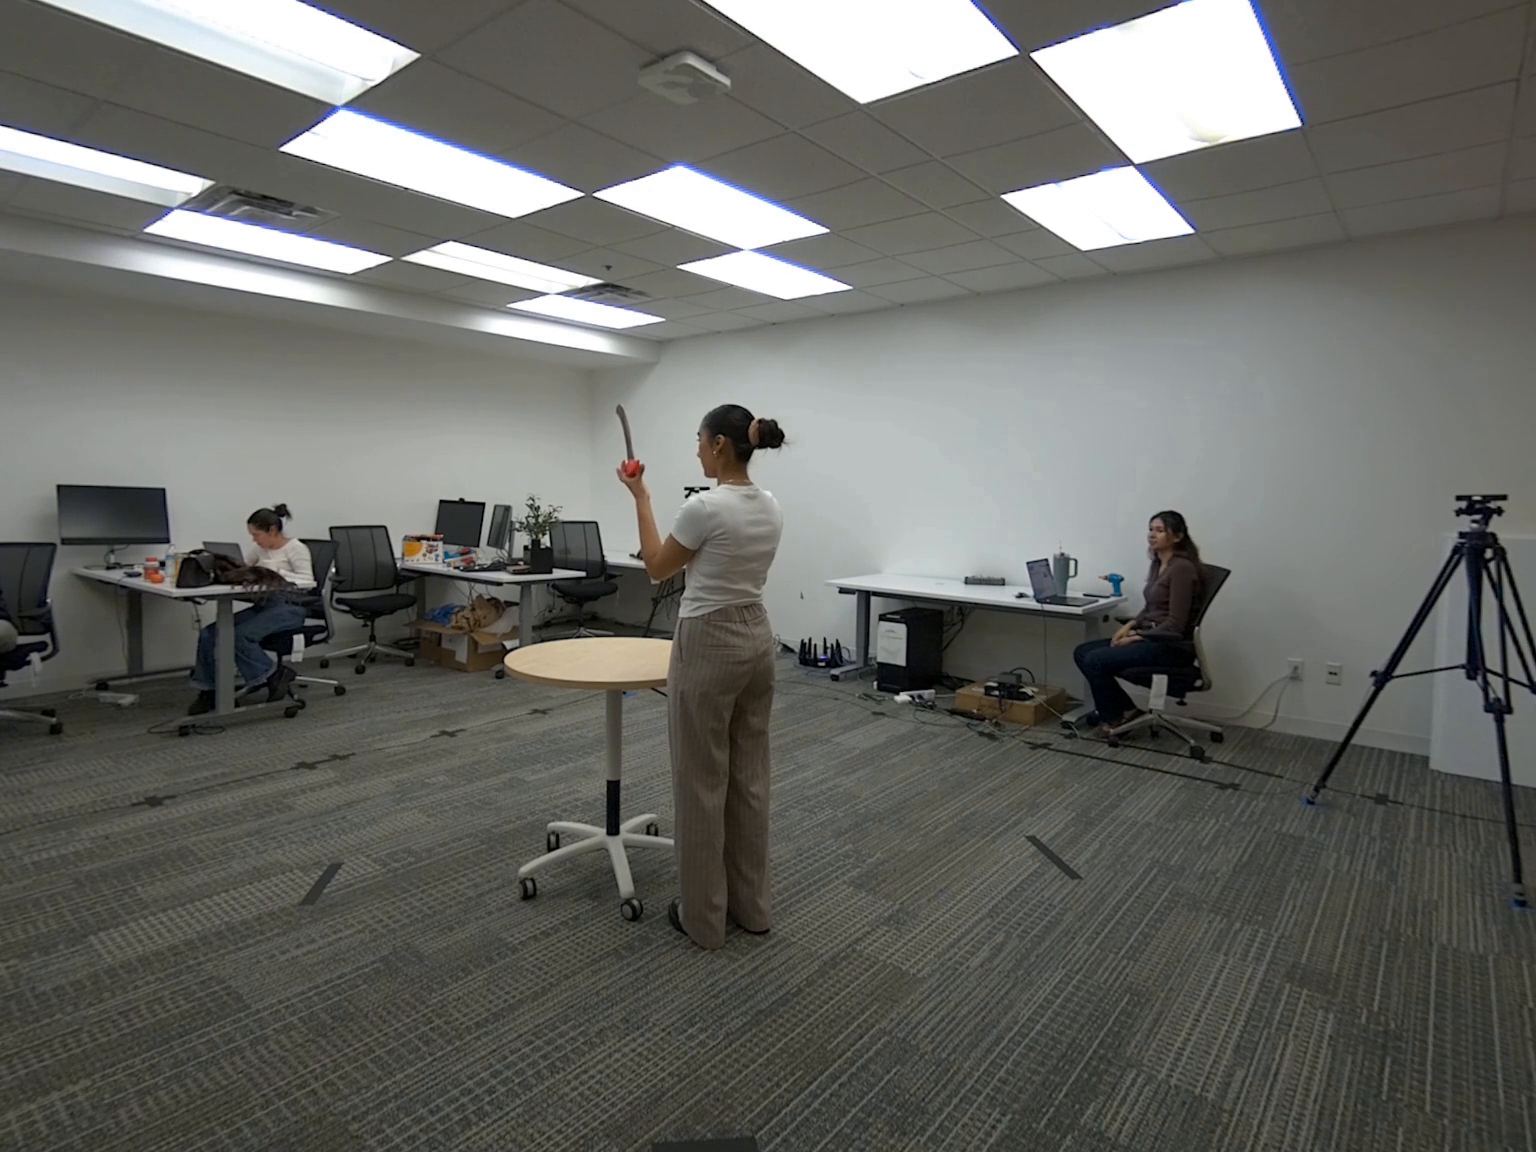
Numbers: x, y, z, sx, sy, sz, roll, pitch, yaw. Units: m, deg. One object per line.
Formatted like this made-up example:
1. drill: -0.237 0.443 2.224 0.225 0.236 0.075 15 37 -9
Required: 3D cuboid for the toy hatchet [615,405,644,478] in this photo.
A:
1. toy hatchet: -0.476 -0.431 2.799 0.029 0.279 0.129 -3 -35 -23
